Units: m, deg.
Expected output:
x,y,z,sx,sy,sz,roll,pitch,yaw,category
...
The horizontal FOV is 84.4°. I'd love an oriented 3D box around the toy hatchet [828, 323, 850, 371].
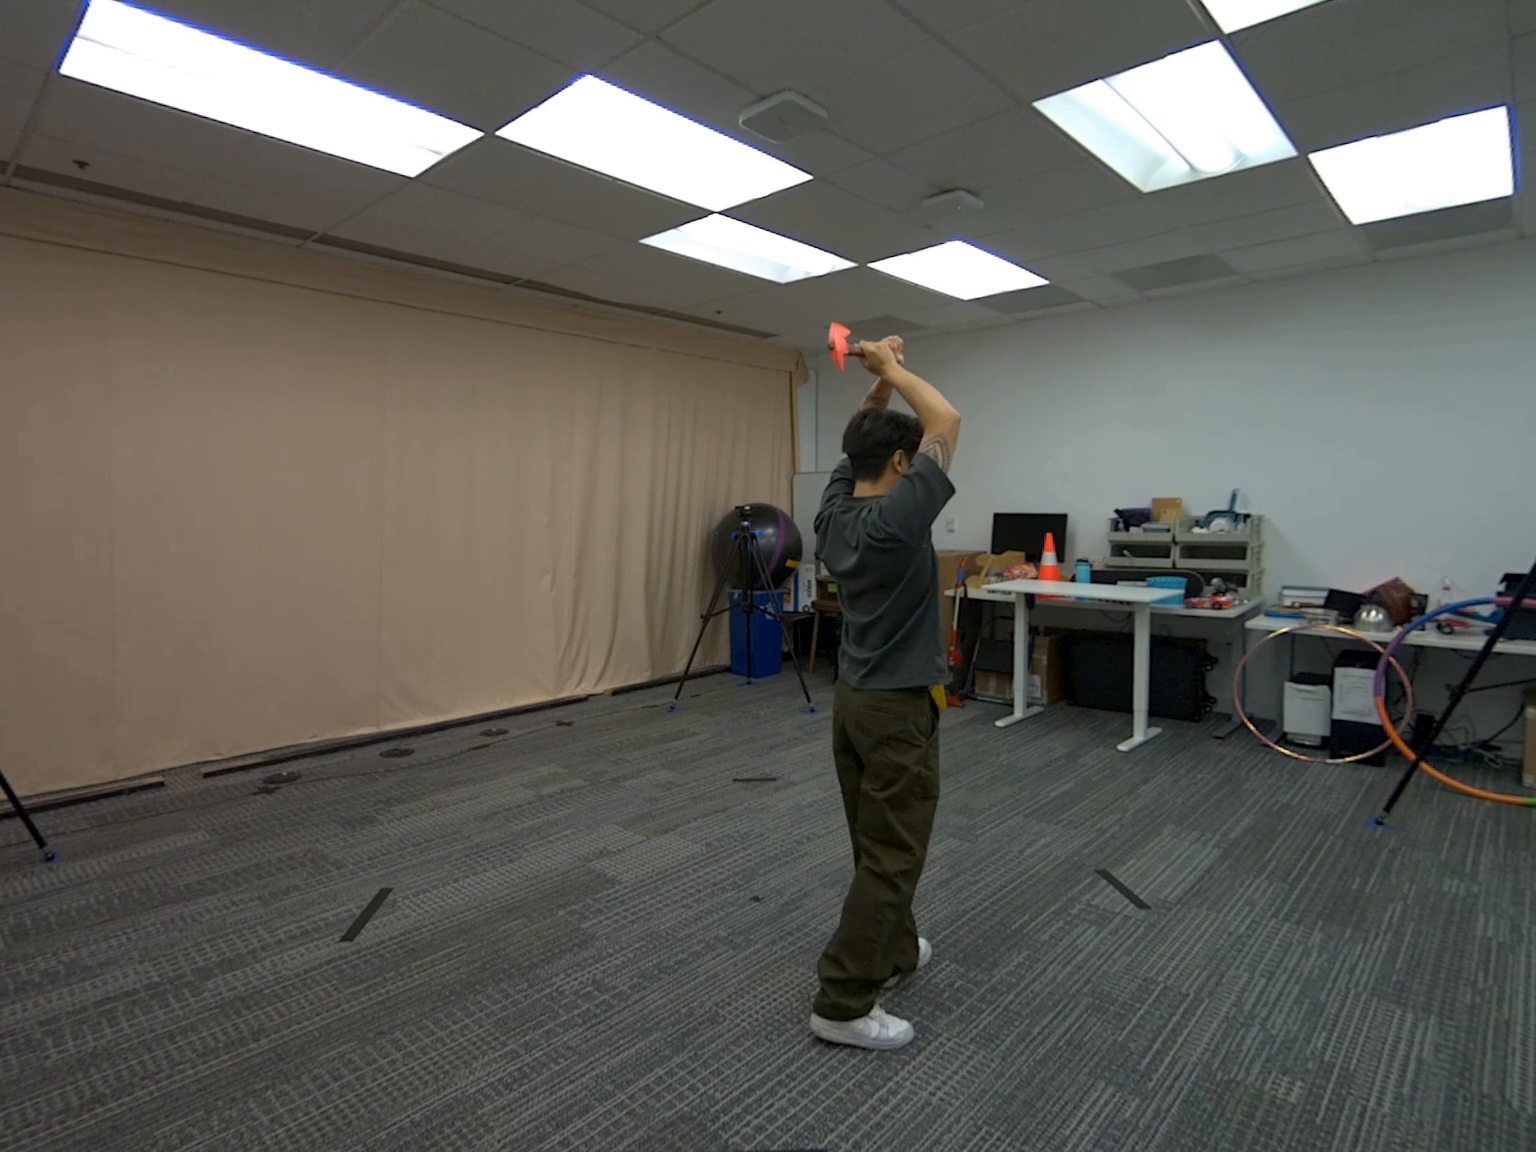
x,y,z,sx,sy,sz,roll,pitch,yaw,category
0.275,-0.644,2.263,0.265,0.131,0.030,-25,-3,-28,toy hatchet
